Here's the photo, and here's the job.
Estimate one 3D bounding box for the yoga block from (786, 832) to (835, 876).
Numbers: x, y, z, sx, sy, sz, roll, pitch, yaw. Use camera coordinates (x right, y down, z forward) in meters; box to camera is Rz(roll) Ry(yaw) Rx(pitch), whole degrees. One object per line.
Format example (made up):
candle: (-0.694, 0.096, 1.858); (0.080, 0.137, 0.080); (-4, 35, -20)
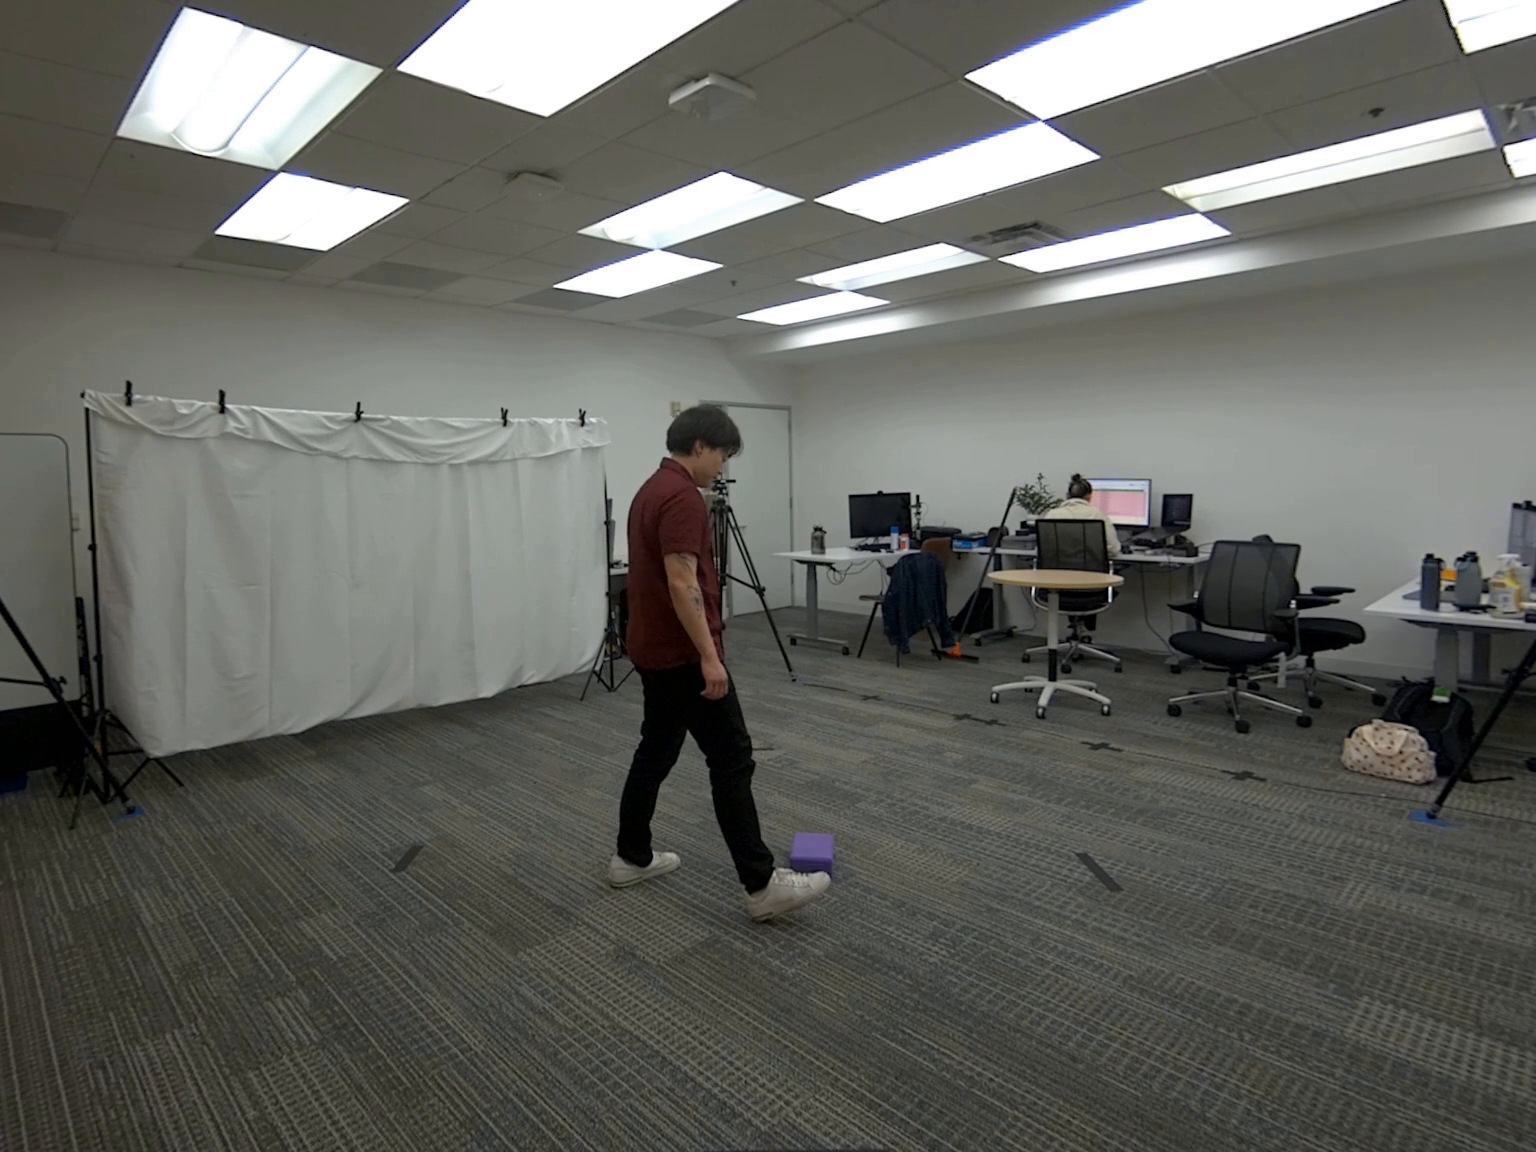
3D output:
yoga block: (0.163, 1.003, 3.089); (0.150, 0.076, 0.228); (-1, 6, 8)
